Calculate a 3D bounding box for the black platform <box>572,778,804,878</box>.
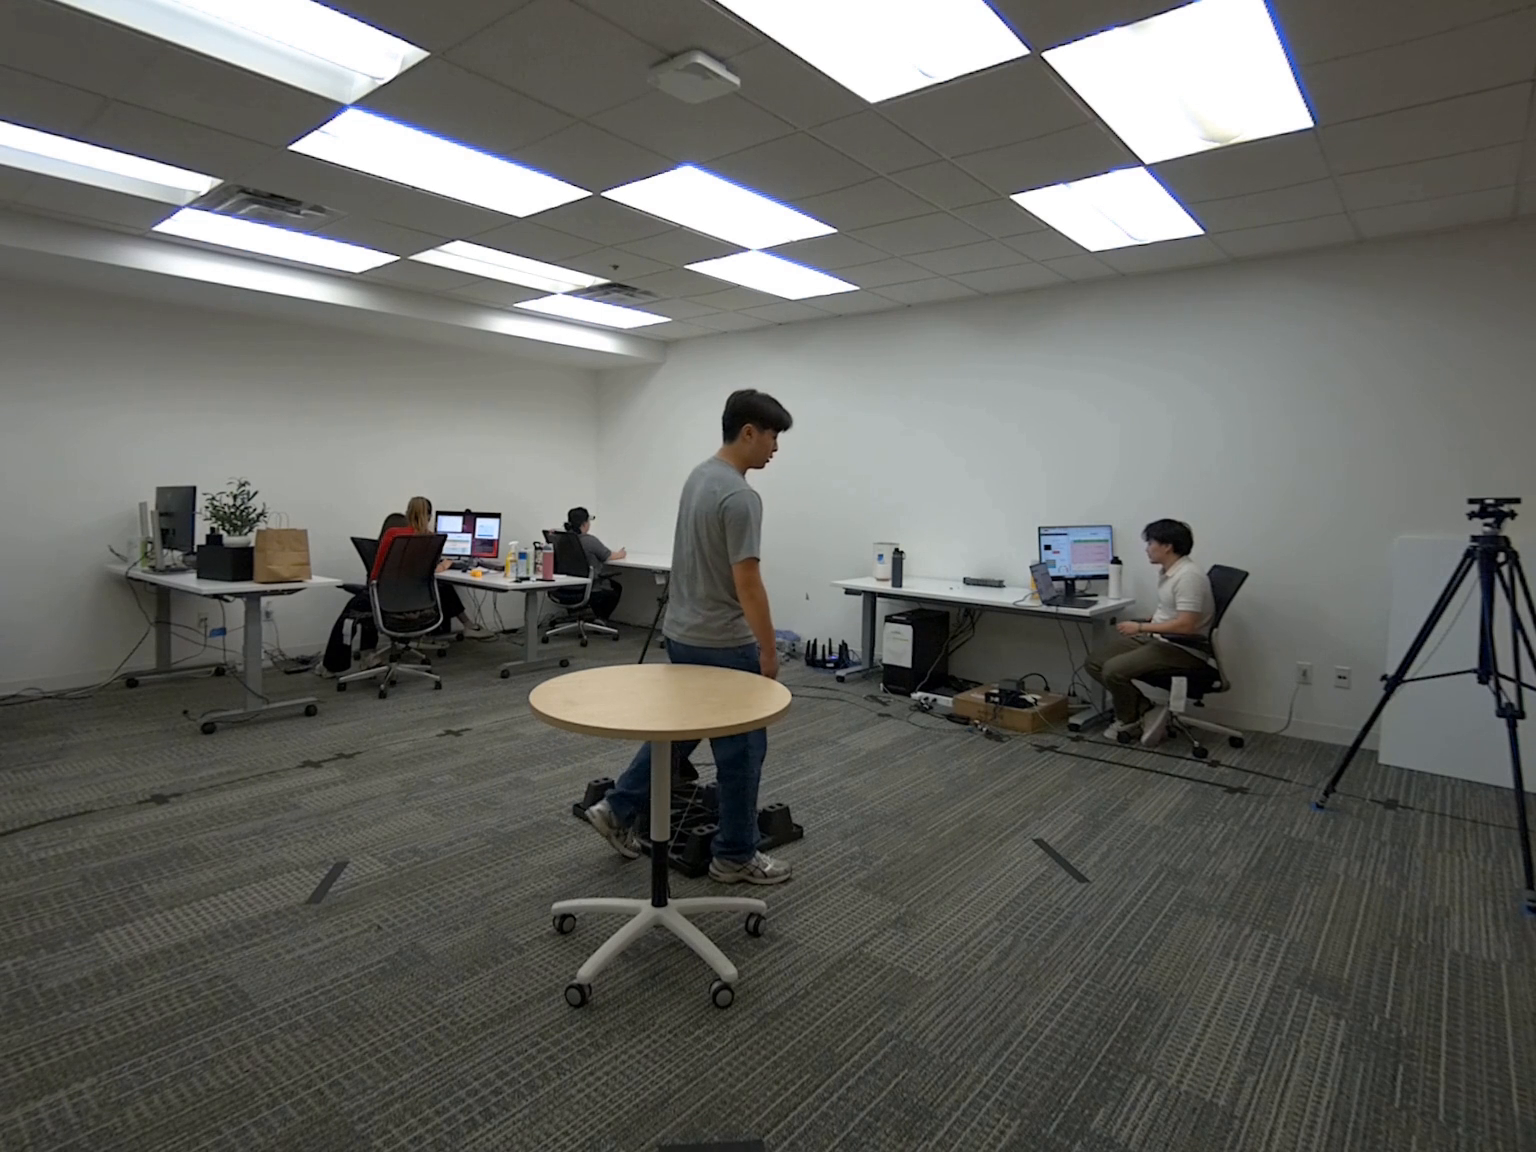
[{"bbox_3d":[-0.356,0.959,3.506,0.587,0.143,0.833,-4,7,-44],"label":"black platform"}]
